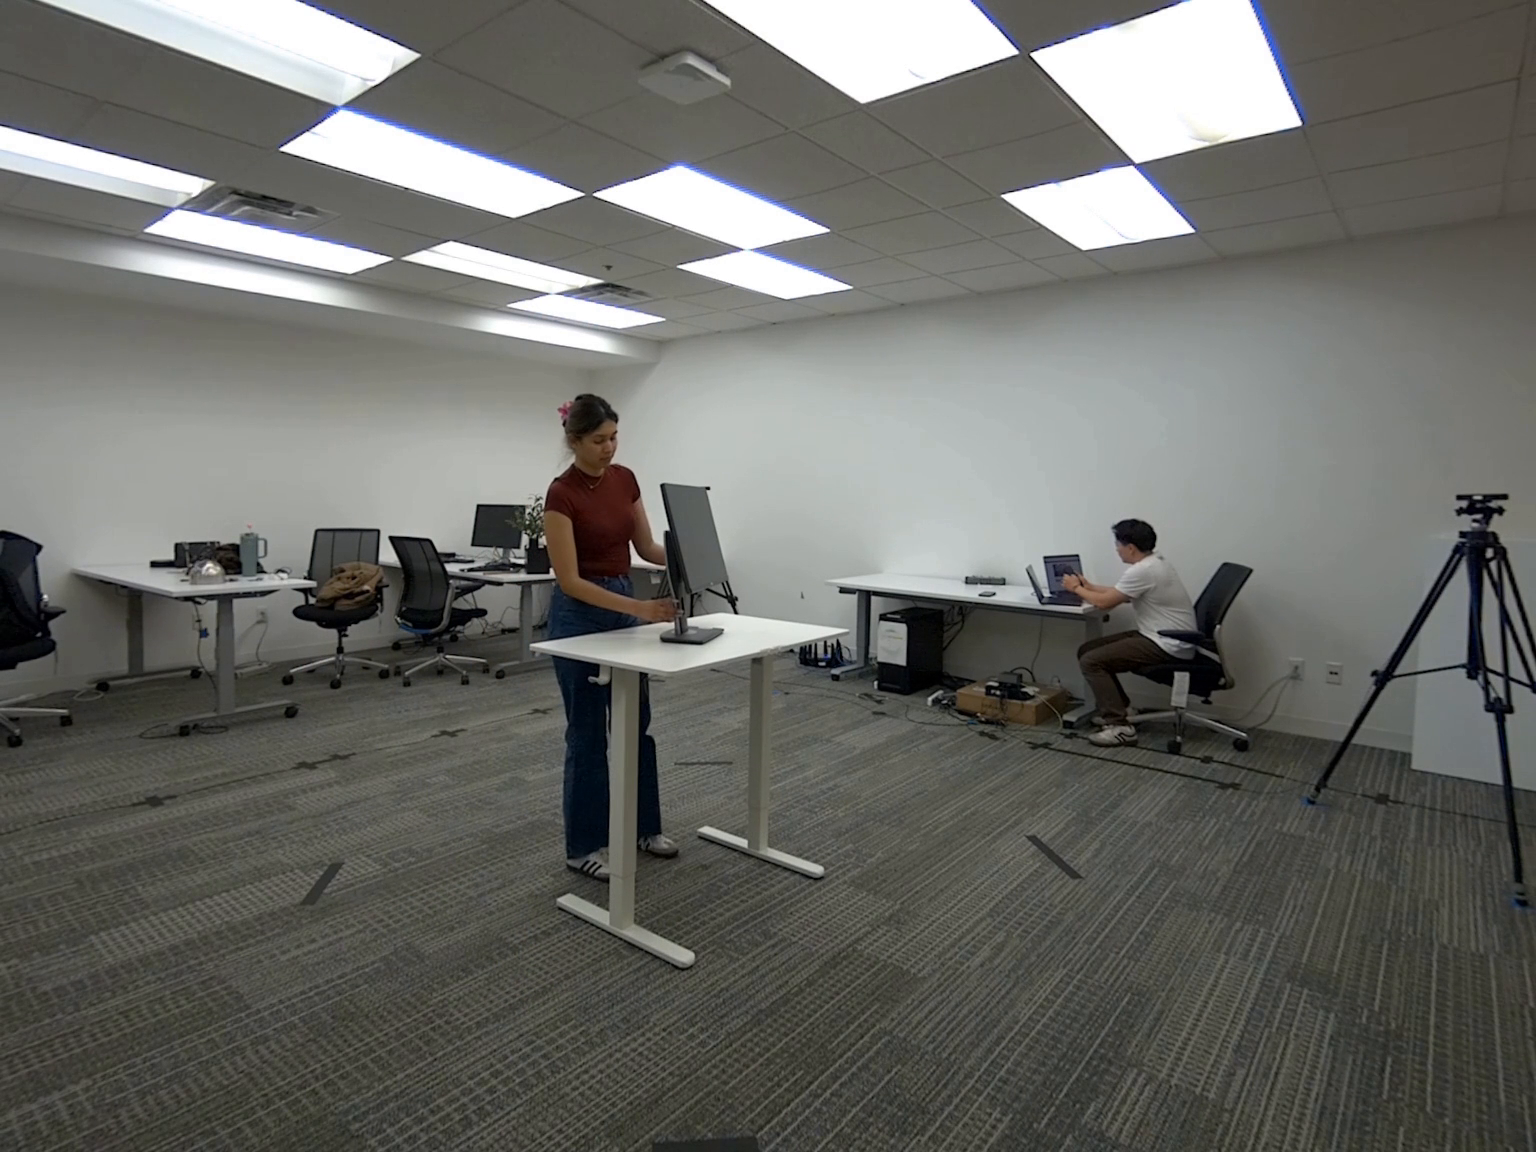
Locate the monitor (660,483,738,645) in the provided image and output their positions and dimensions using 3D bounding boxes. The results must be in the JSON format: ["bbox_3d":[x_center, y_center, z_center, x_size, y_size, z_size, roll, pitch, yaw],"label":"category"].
[{"bbox_3d":[-0.273,-0.048,2.885,0.189,0.521,0.534,1,3,8],"label":"monitor"}]
